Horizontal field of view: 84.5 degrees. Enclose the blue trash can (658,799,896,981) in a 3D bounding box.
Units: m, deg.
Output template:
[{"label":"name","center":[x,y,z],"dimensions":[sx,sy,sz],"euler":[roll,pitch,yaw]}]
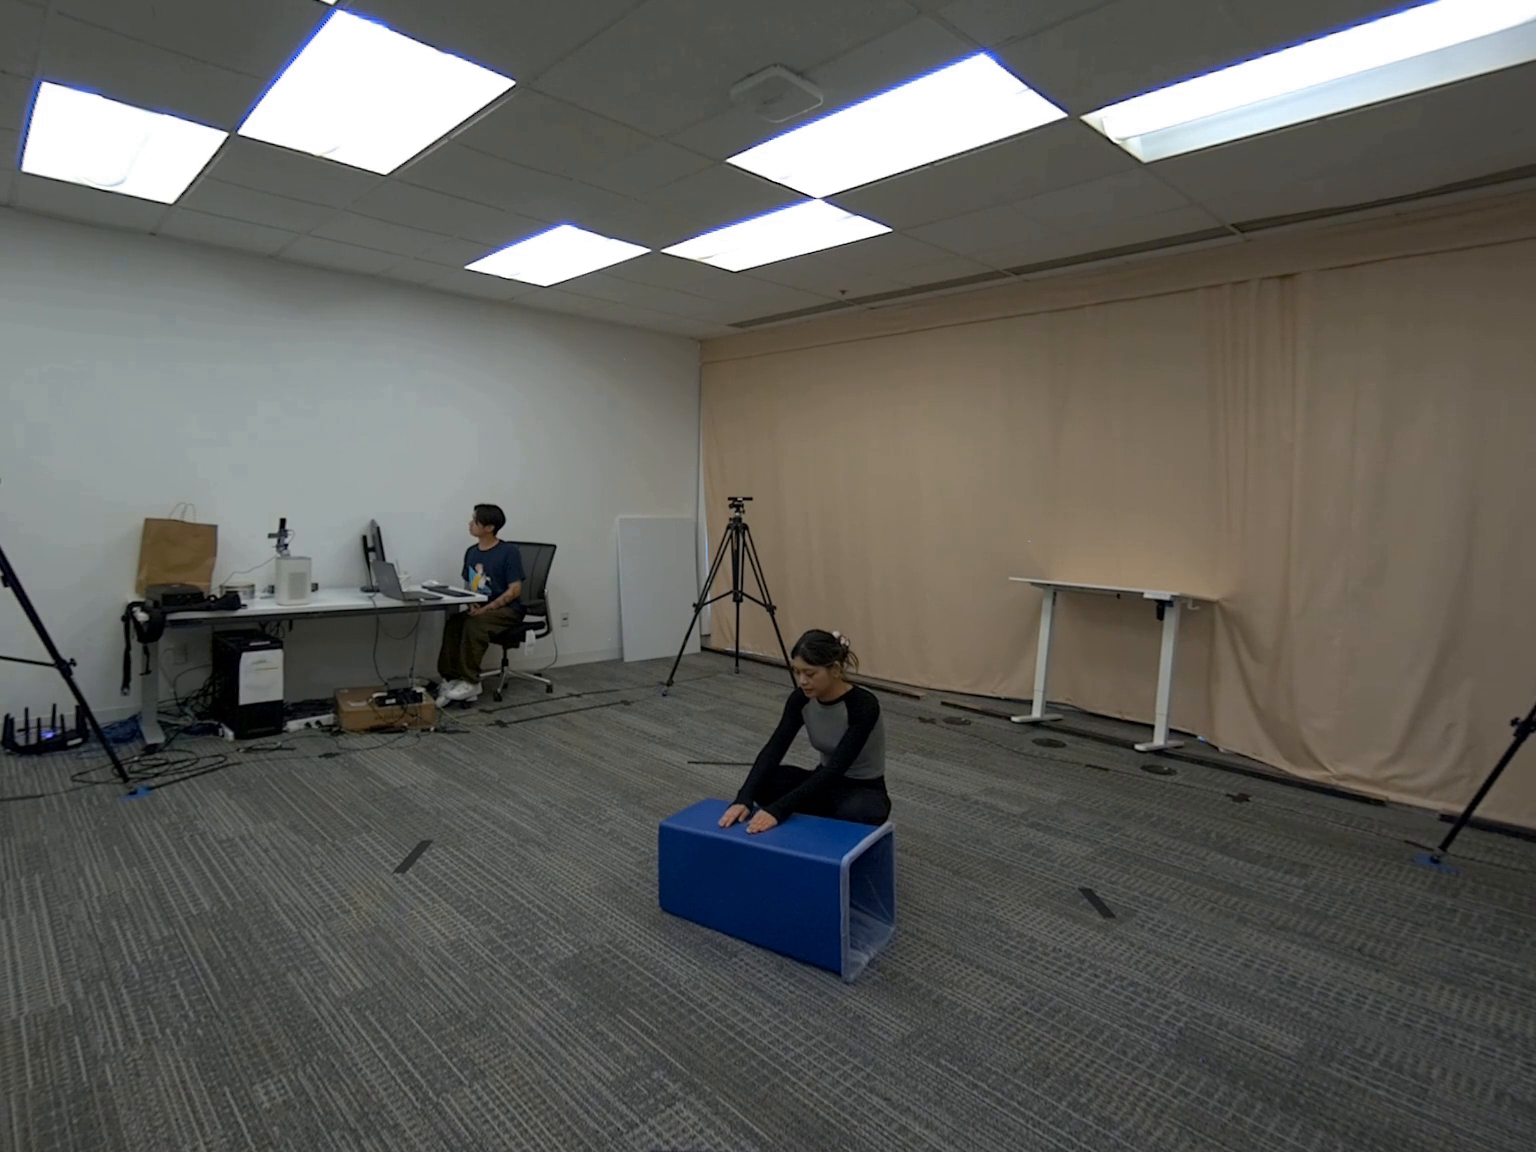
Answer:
[{"label":"blue trash can","center":[0.012,0.978,2.757],"dimensions":[0.729,0.377,0.367],"euler":[2,5,33]}]
